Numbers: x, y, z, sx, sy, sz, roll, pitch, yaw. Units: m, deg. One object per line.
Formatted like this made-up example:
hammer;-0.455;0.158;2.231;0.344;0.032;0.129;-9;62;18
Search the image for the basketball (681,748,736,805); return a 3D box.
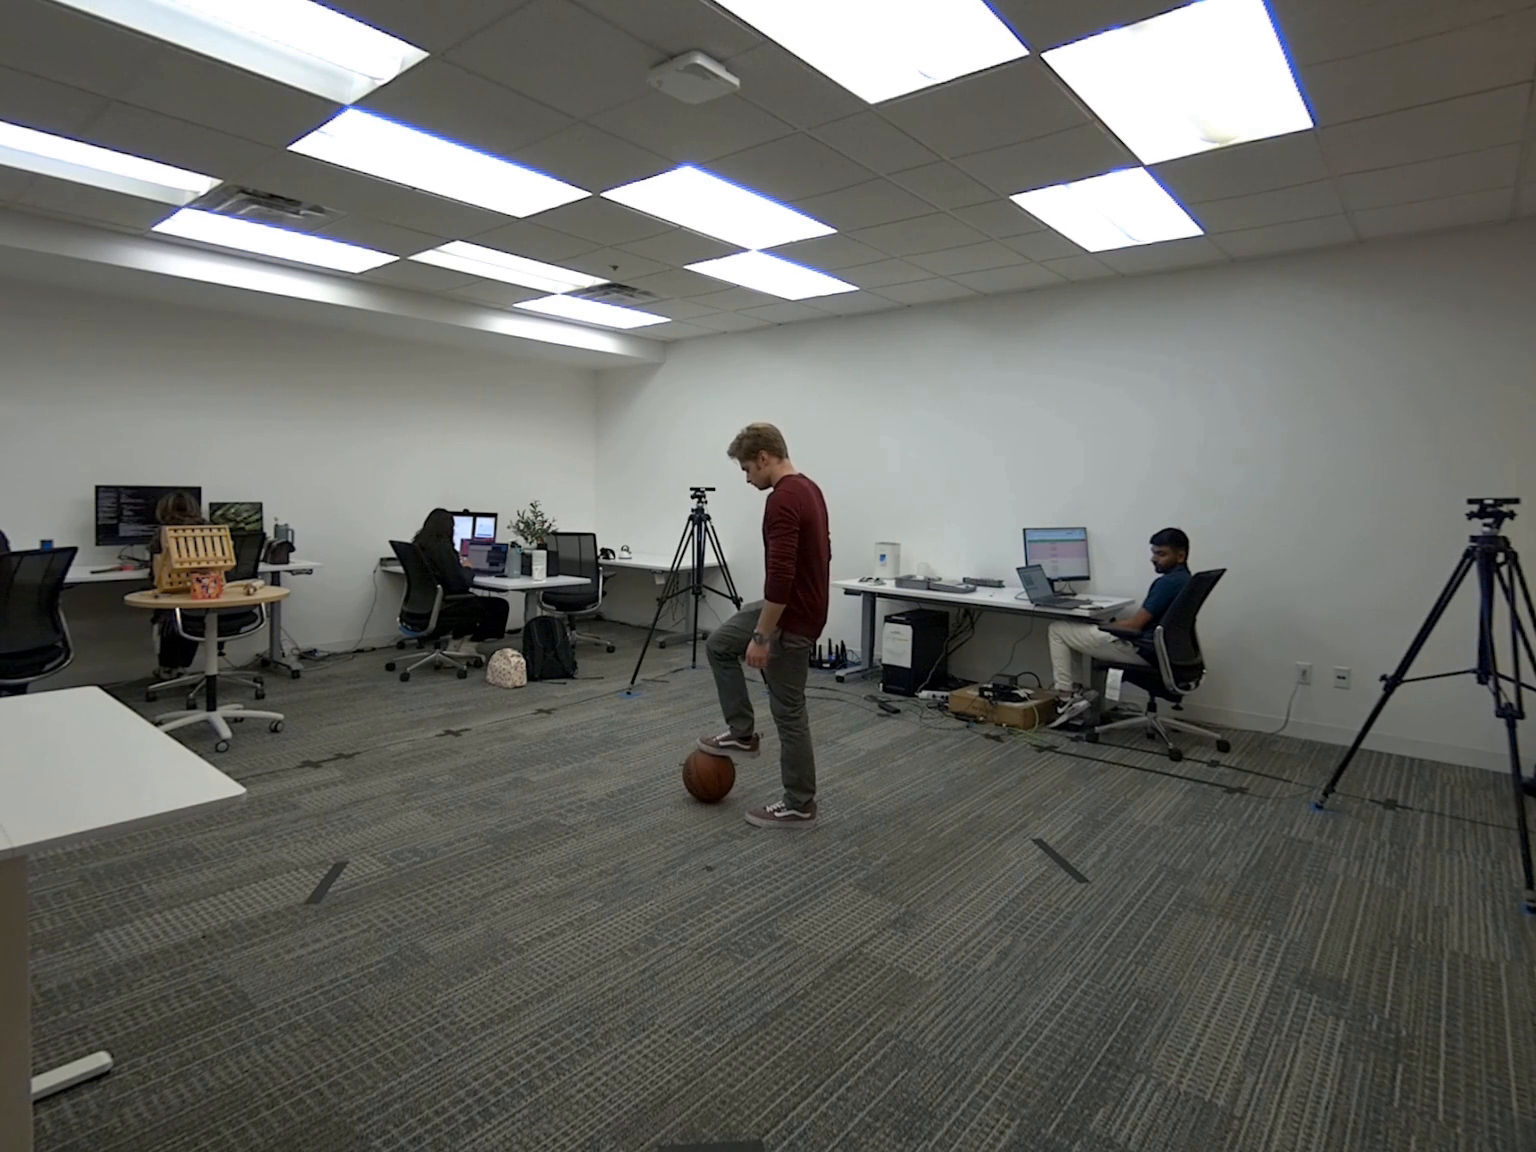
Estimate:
basketball;-0.276;0.878;3.800;0.235;0.235;0.237;1;4;-2
